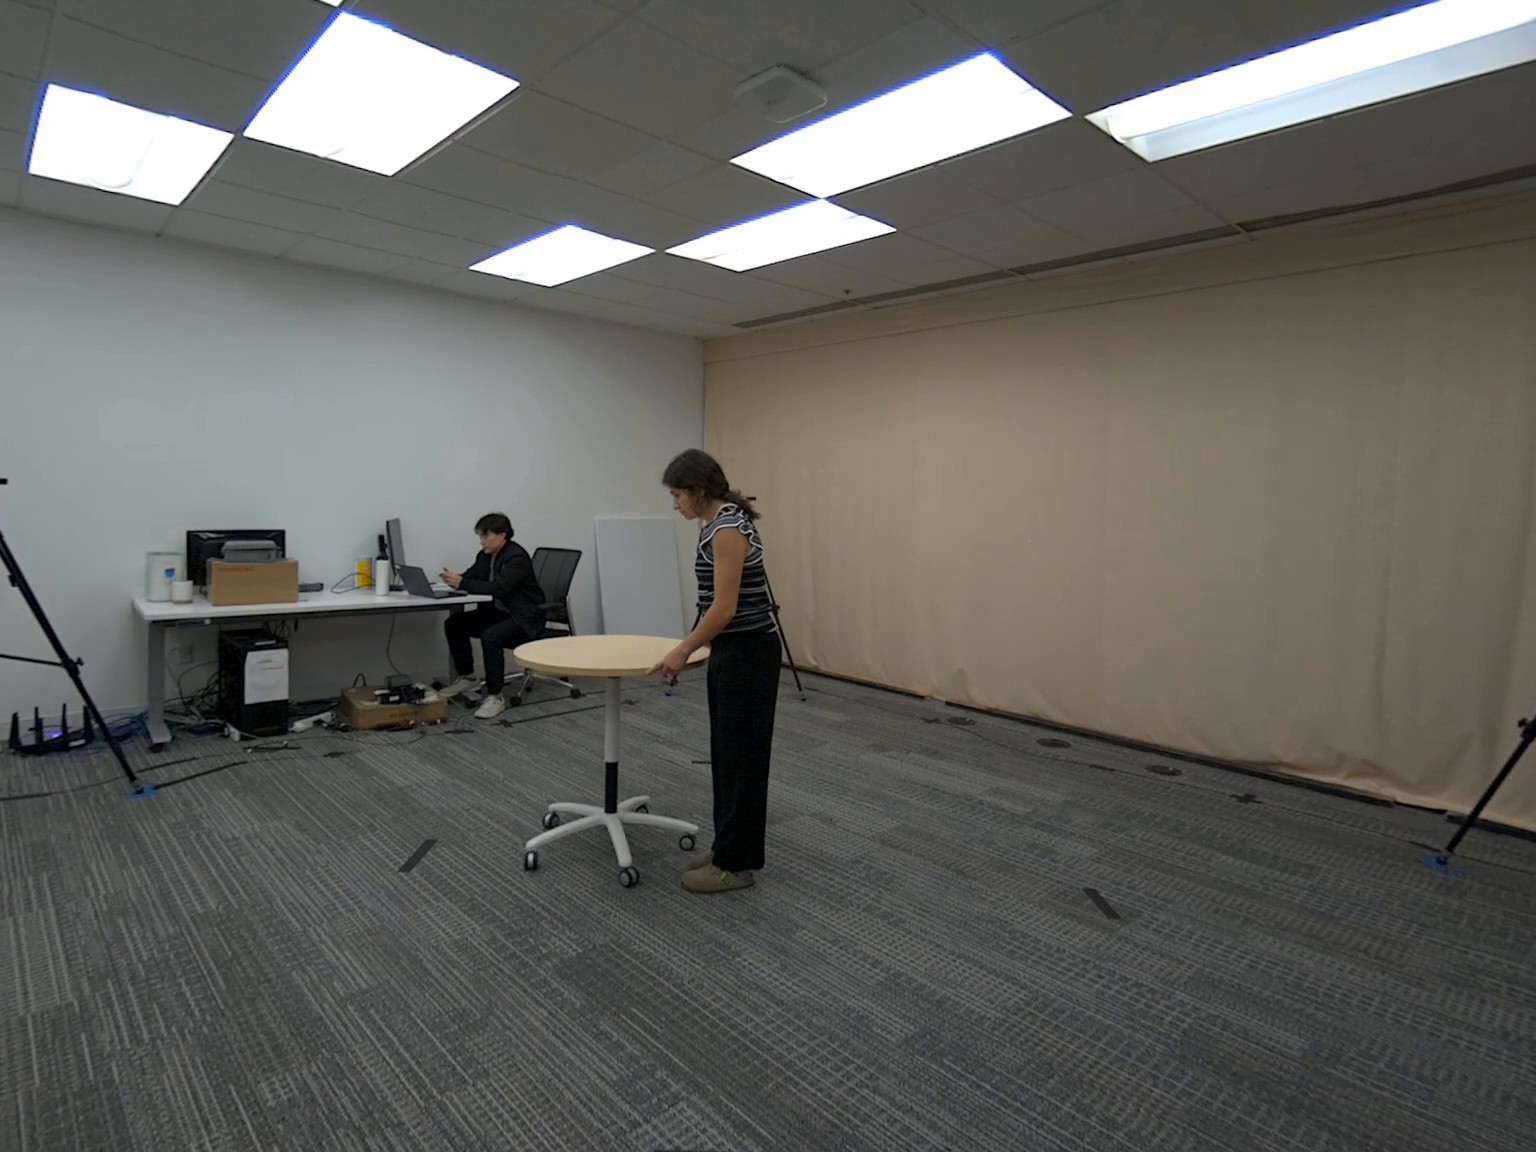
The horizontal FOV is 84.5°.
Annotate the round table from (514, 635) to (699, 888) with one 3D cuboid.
[{"bbox_3d":[-0.610,0.681,3.317,0.784,0.785,0.787,1,4,-1],"label":"round table"}]
